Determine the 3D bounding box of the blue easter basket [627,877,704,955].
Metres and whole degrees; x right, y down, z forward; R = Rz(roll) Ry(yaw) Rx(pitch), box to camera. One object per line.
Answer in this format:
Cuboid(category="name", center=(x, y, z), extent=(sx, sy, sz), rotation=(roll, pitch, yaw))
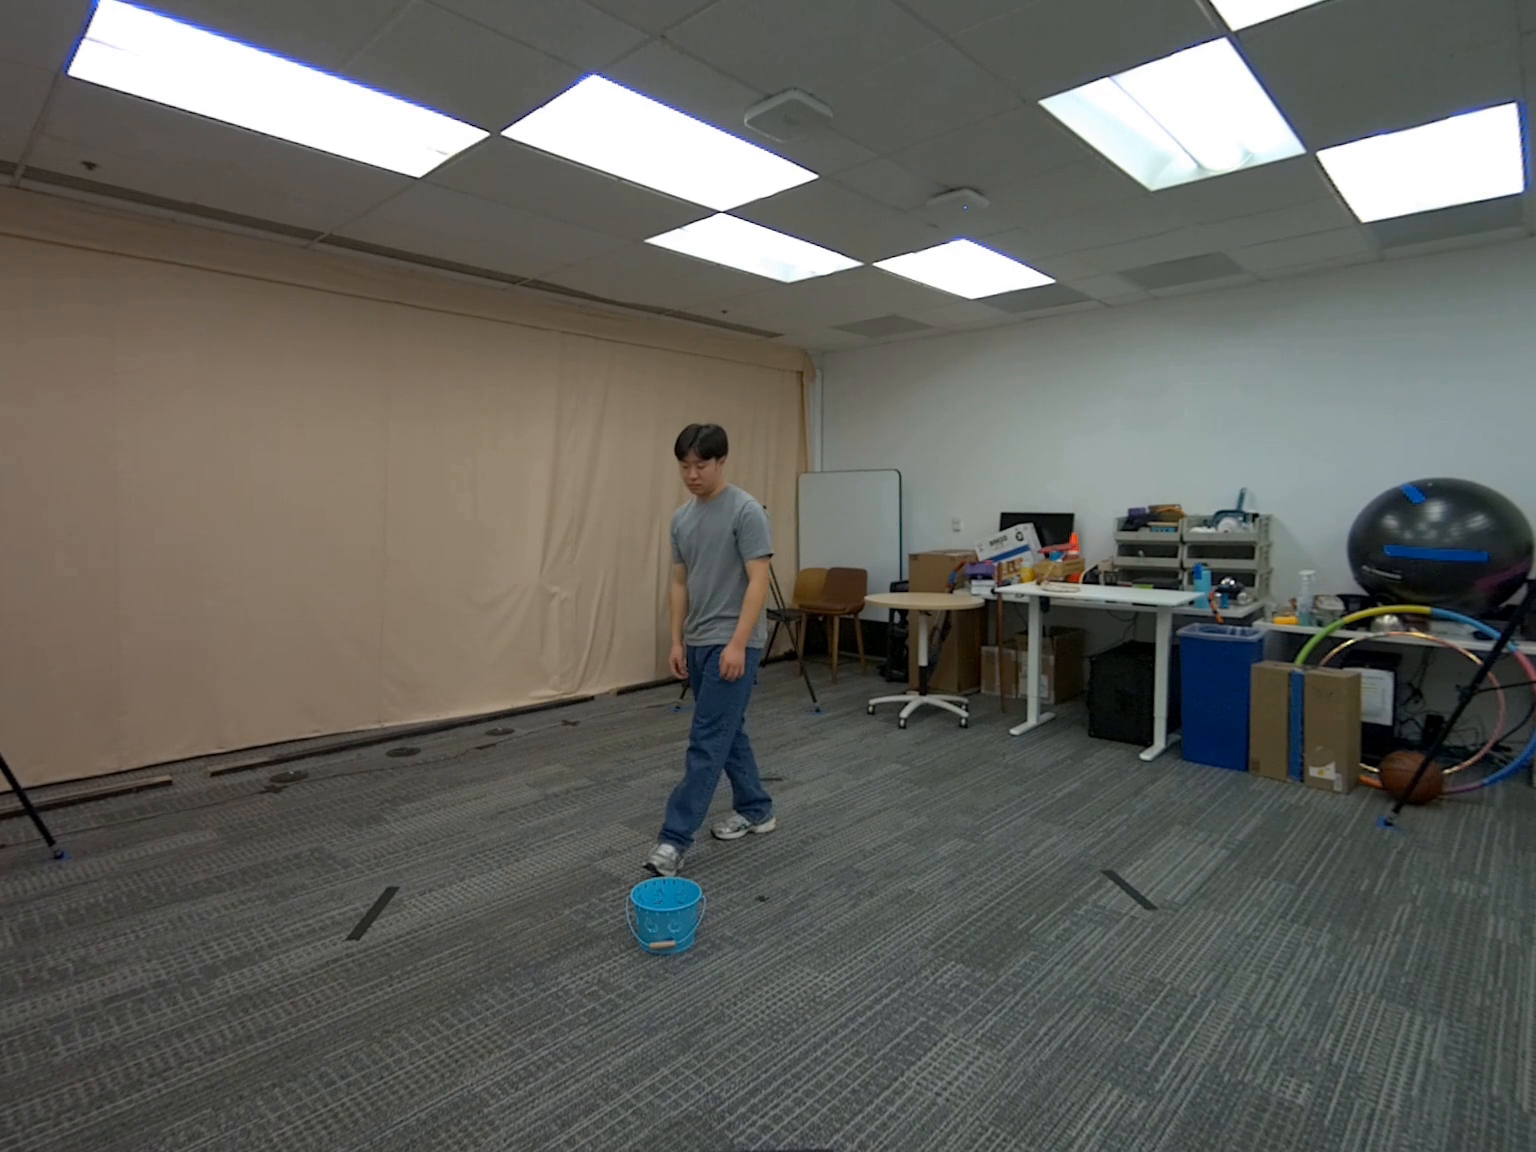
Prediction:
Cuboid(category="blue easter basket", center=(-0.328, 1.088, 2.702), extent=(0.243, 0.155, 0.244), rotation=(0, 4, -2))
